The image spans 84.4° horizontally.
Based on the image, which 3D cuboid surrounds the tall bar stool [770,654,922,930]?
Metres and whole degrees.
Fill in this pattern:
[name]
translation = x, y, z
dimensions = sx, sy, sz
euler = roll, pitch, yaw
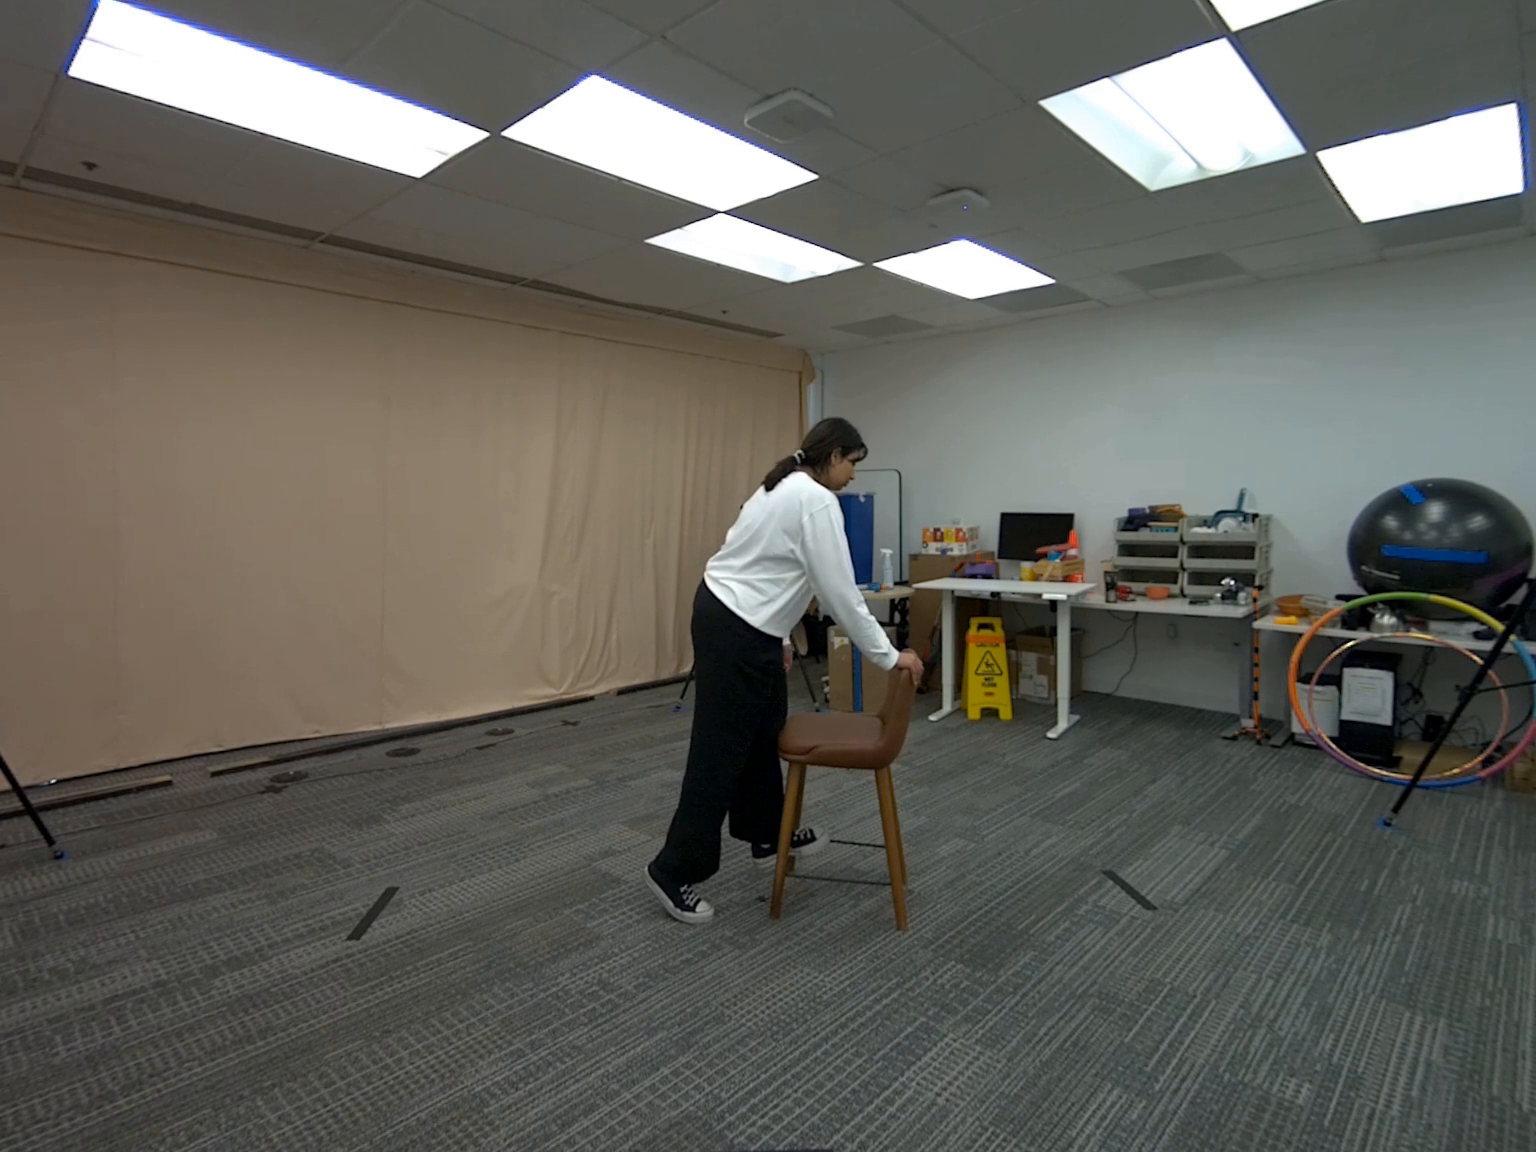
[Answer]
[tall bar stool]
translation = 0.278, 0.713, 2.955
dimensions = 0.474, 0.887, 0.451
euler = 2, 4, 12
